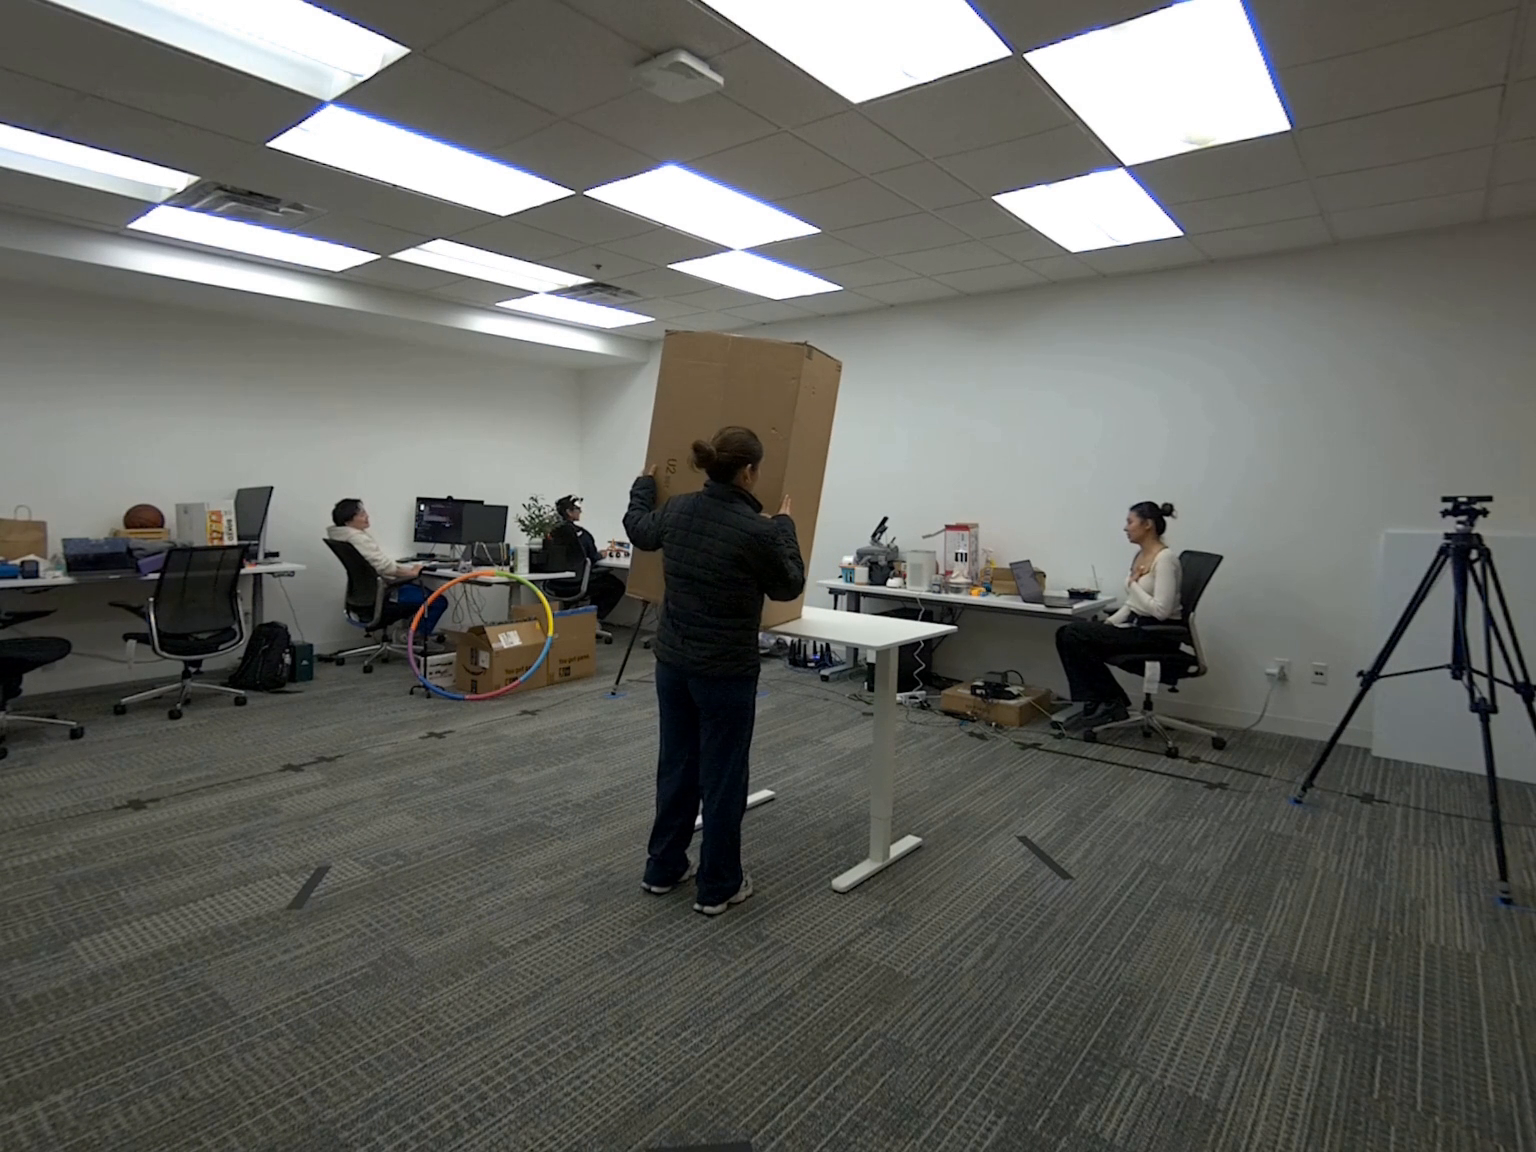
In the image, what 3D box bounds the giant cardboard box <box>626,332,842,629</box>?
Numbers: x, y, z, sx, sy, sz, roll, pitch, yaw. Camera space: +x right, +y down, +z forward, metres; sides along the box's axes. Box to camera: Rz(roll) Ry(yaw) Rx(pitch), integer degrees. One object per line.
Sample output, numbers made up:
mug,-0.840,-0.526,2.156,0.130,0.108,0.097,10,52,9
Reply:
giant cardboard box,-0.113,-0.380,3.301,0.594,1.022,0.416,11,5,25
